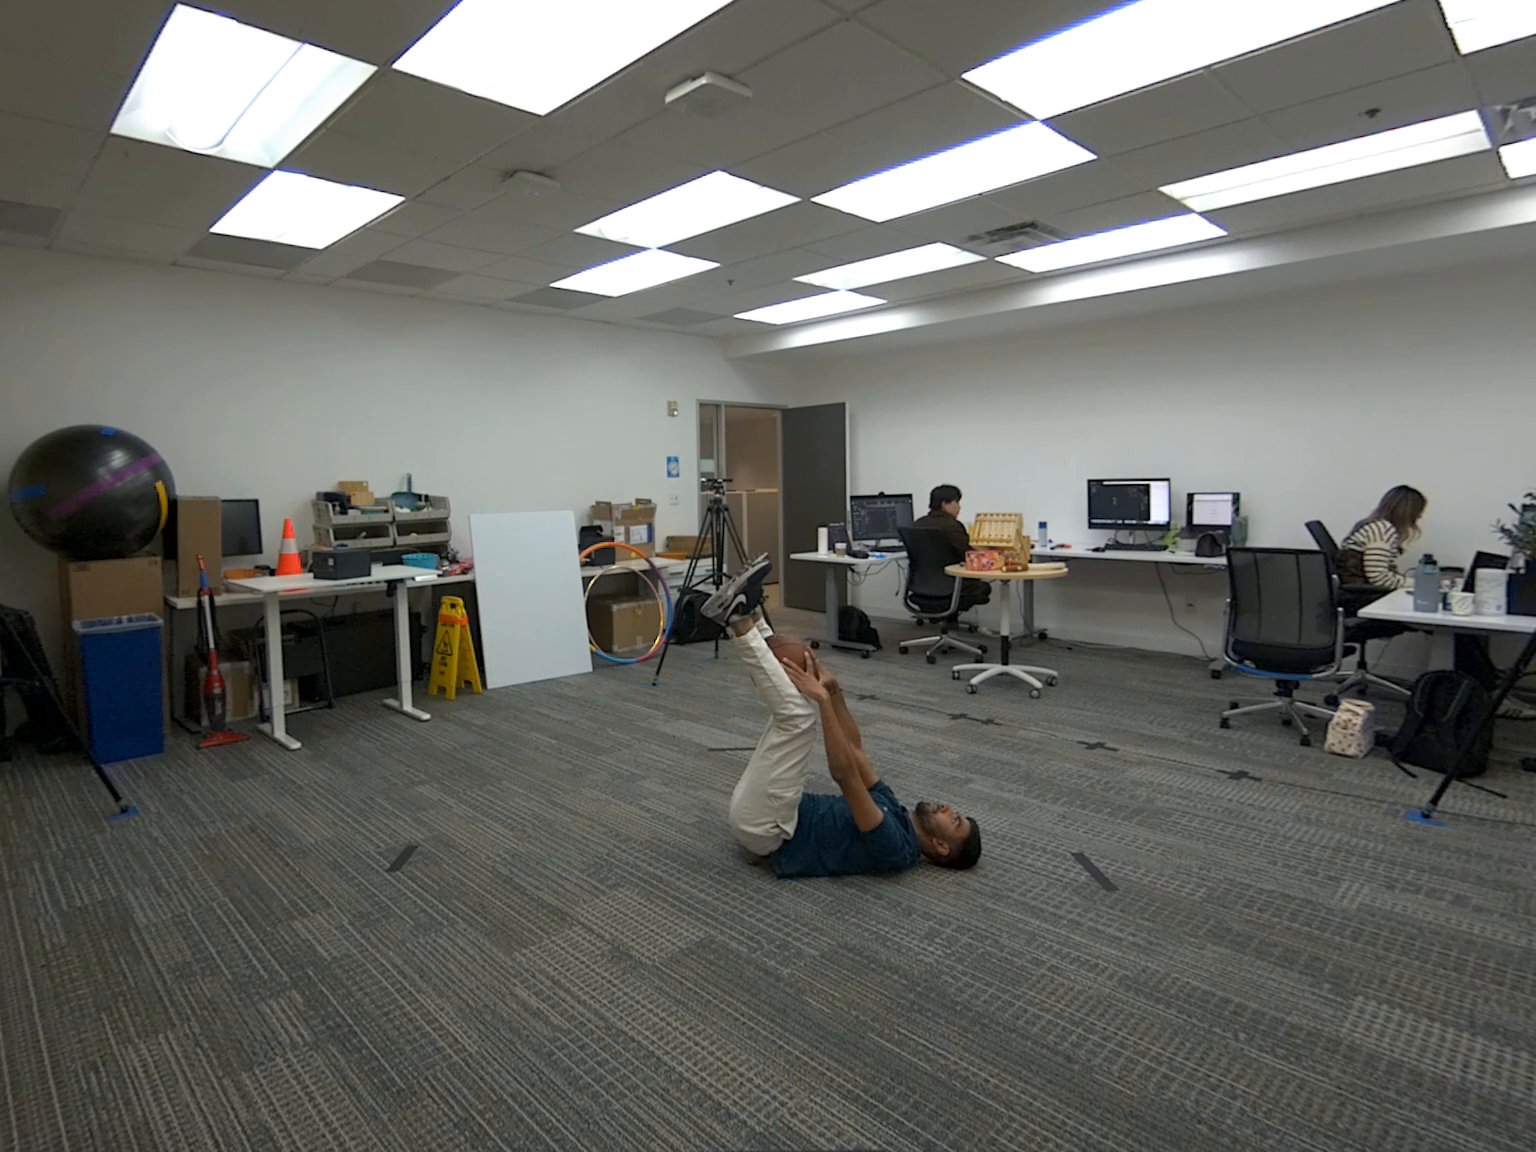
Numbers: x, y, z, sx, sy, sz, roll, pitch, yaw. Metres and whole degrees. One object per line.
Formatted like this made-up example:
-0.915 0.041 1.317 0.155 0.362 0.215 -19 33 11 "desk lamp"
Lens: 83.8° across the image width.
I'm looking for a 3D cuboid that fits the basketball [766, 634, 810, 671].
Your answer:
0.050 0.328 3.152 0.236 0.235 0.237 -1 5 -2 "basketball"
